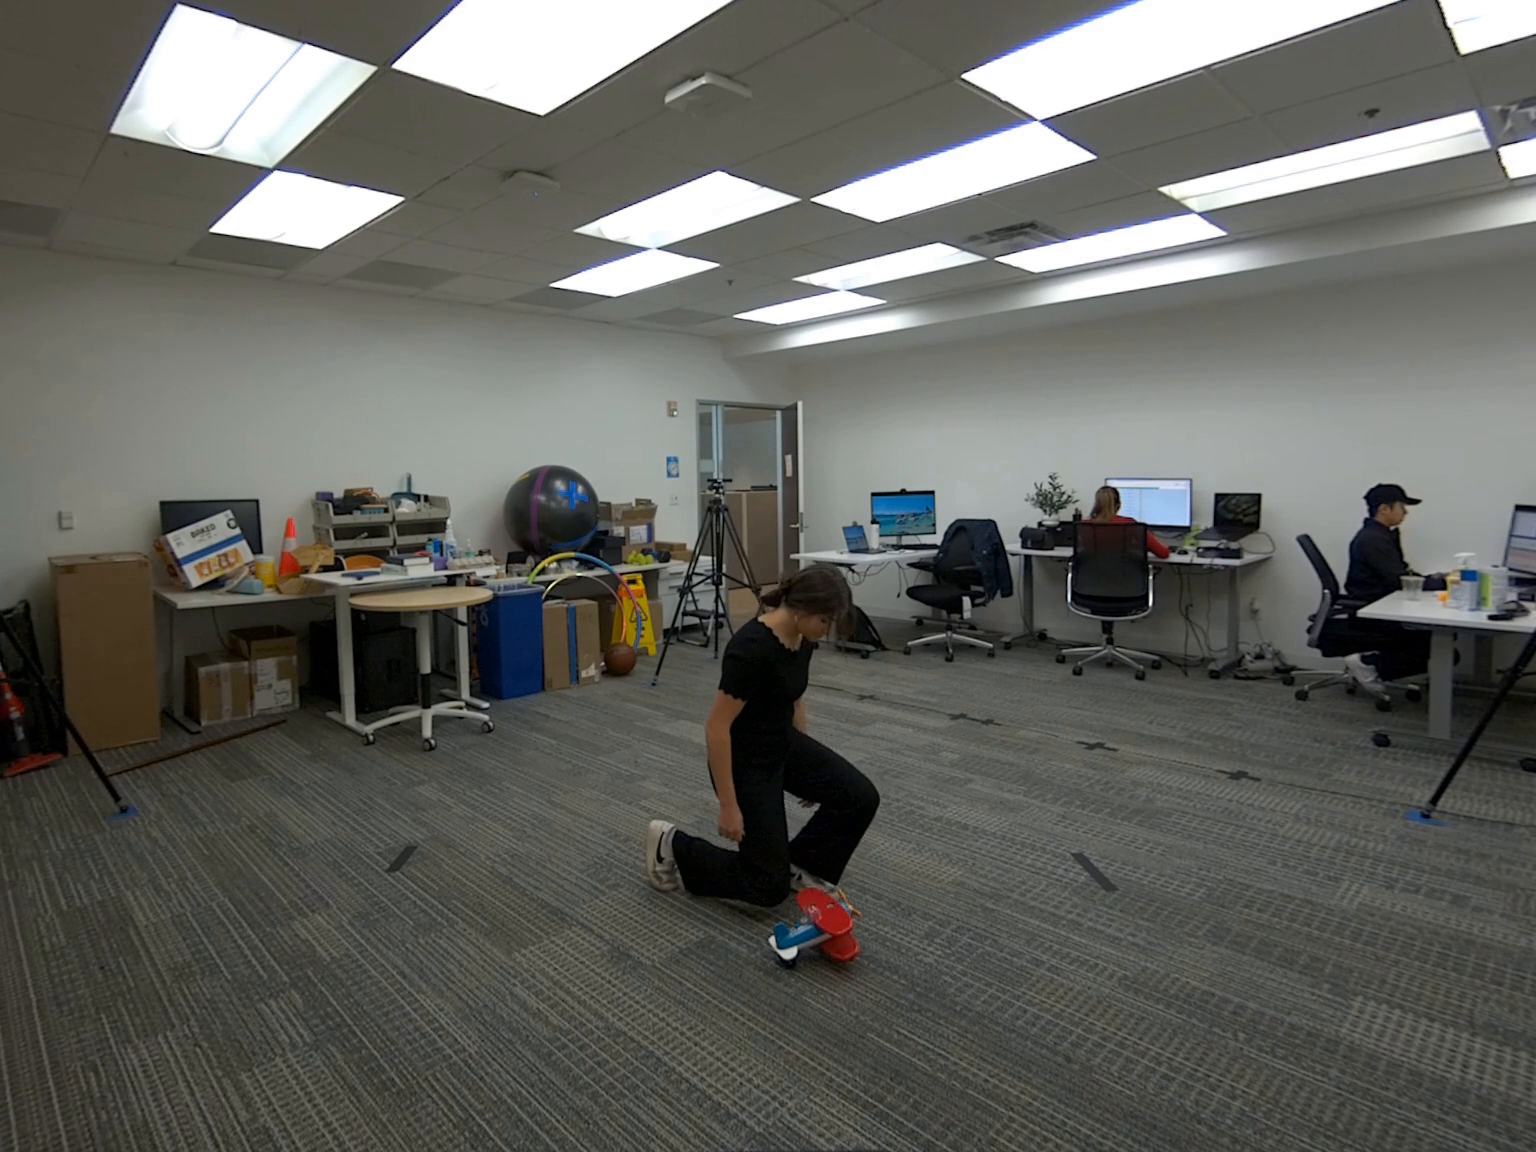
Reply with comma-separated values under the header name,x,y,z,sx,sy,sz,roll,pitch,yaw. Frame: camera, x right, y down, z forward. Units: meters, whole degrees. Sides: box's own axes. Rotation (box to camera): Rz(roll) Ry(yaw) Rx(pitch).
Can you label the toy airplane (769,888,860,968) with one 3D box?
name,x,y,z,sx,sy,sz,roll,pitch,yaw
toy airplane,0.149,1.045,2.470,0.259,0.156,0.253,4,7,38
